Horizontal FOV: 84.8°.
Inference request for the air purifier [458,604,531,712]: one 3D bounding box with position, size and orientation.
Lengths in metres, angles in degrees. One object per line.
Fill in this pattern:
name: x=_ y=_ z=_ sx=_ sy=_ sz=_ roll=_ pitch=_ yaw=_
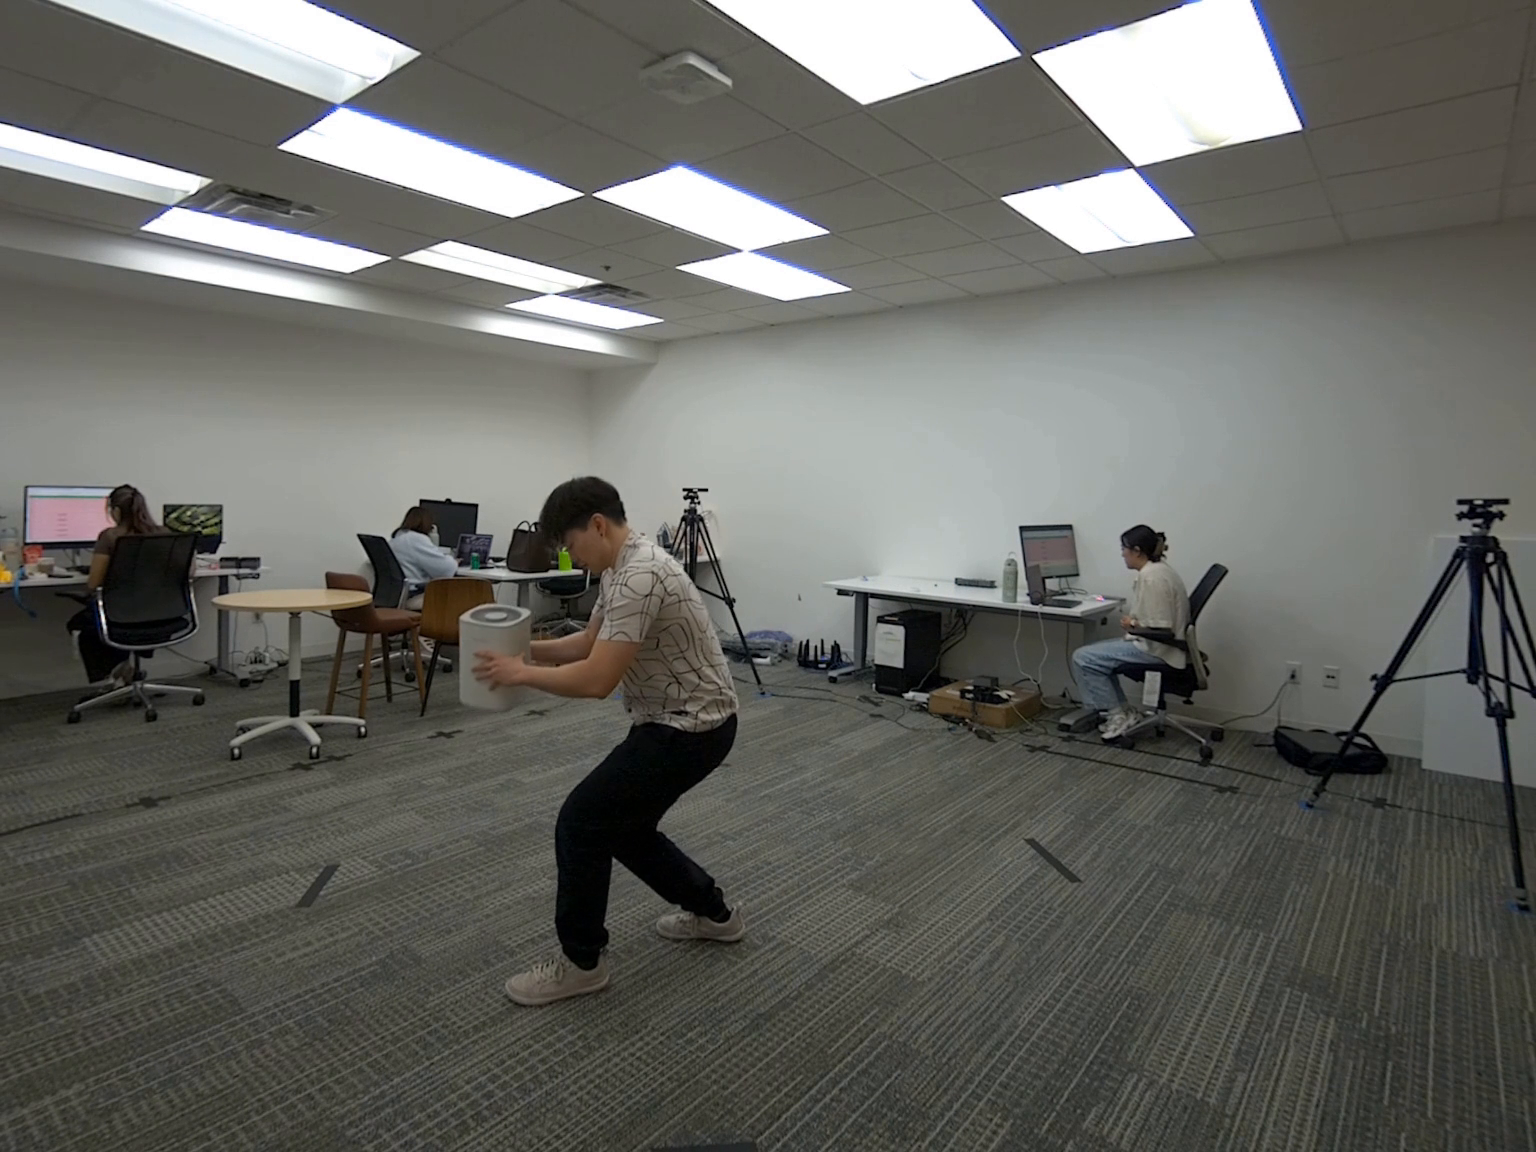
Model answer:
air purifier: x=-0.781 y=0.241 z=2.414 sx=0.174 sy=0.263 sz=0.170 roll=7 pitch=11 yaw=10
